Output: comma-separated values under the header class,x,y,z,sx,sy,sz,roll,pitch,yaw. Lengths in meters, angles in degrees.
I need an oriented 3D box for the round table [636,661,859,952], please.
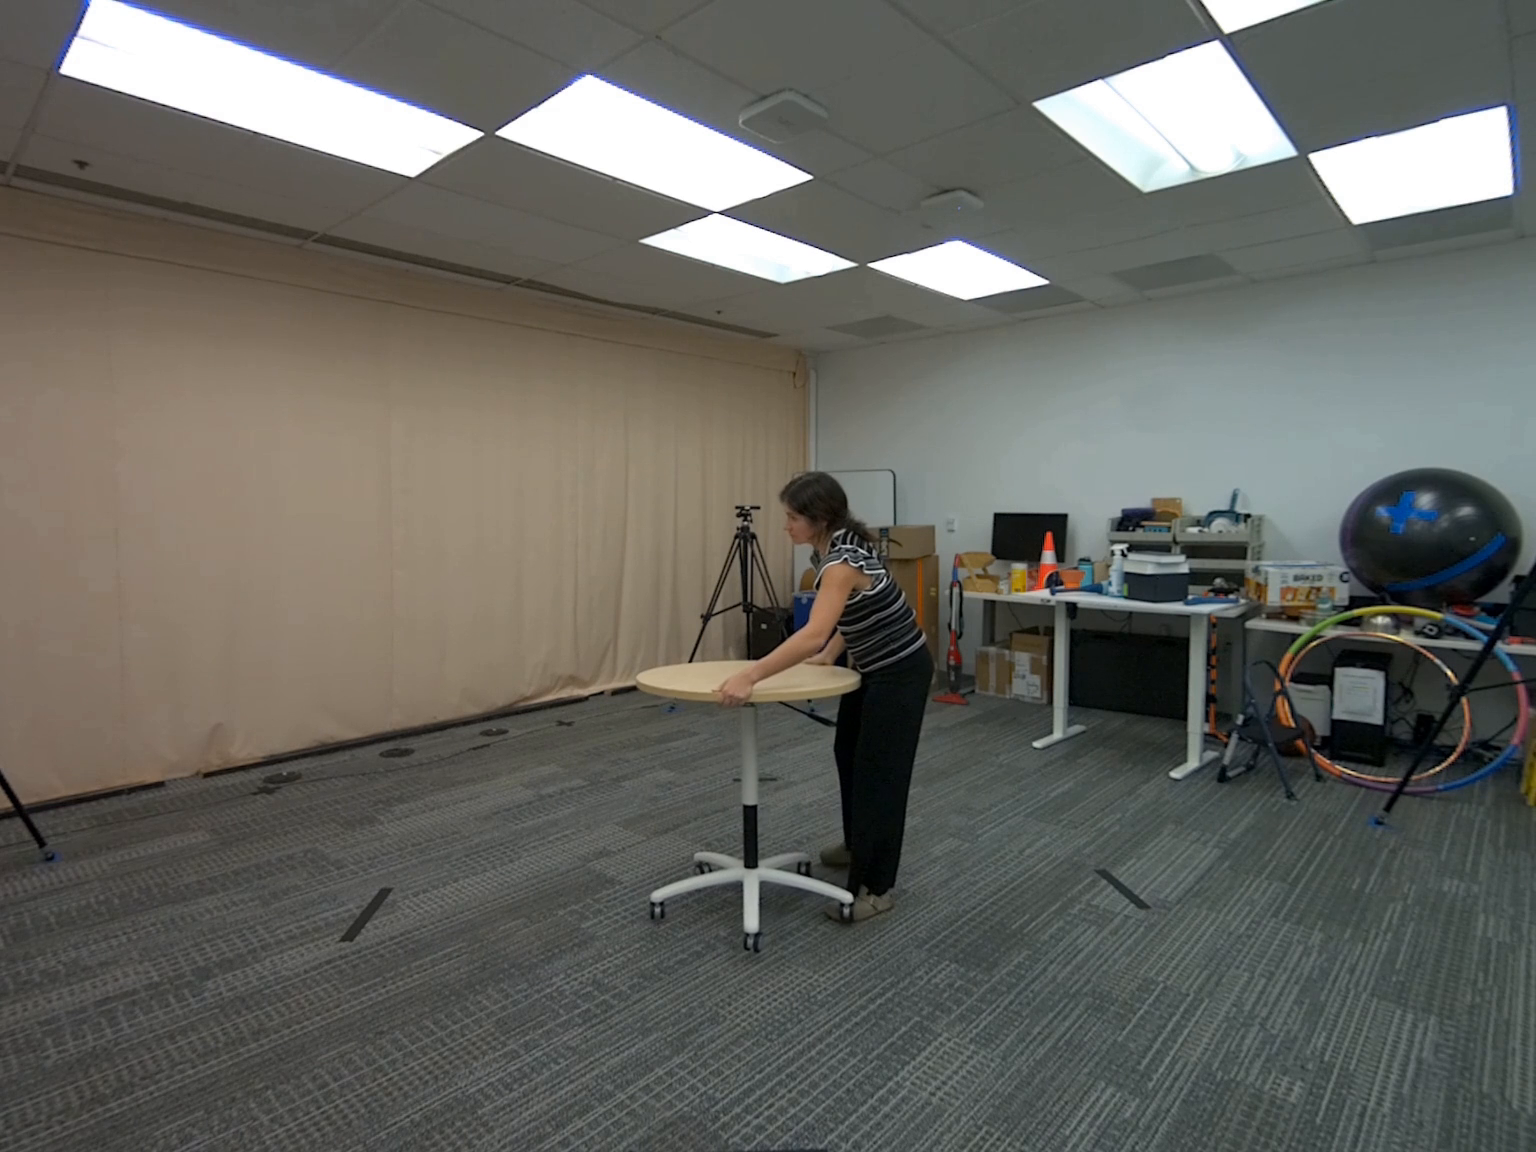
class,x,y,z,sx,sy,sz,roll,pitch,yaw
round table,-0.069,0.745,2.888,0.763,0.794,0.765,-1,1,-2
